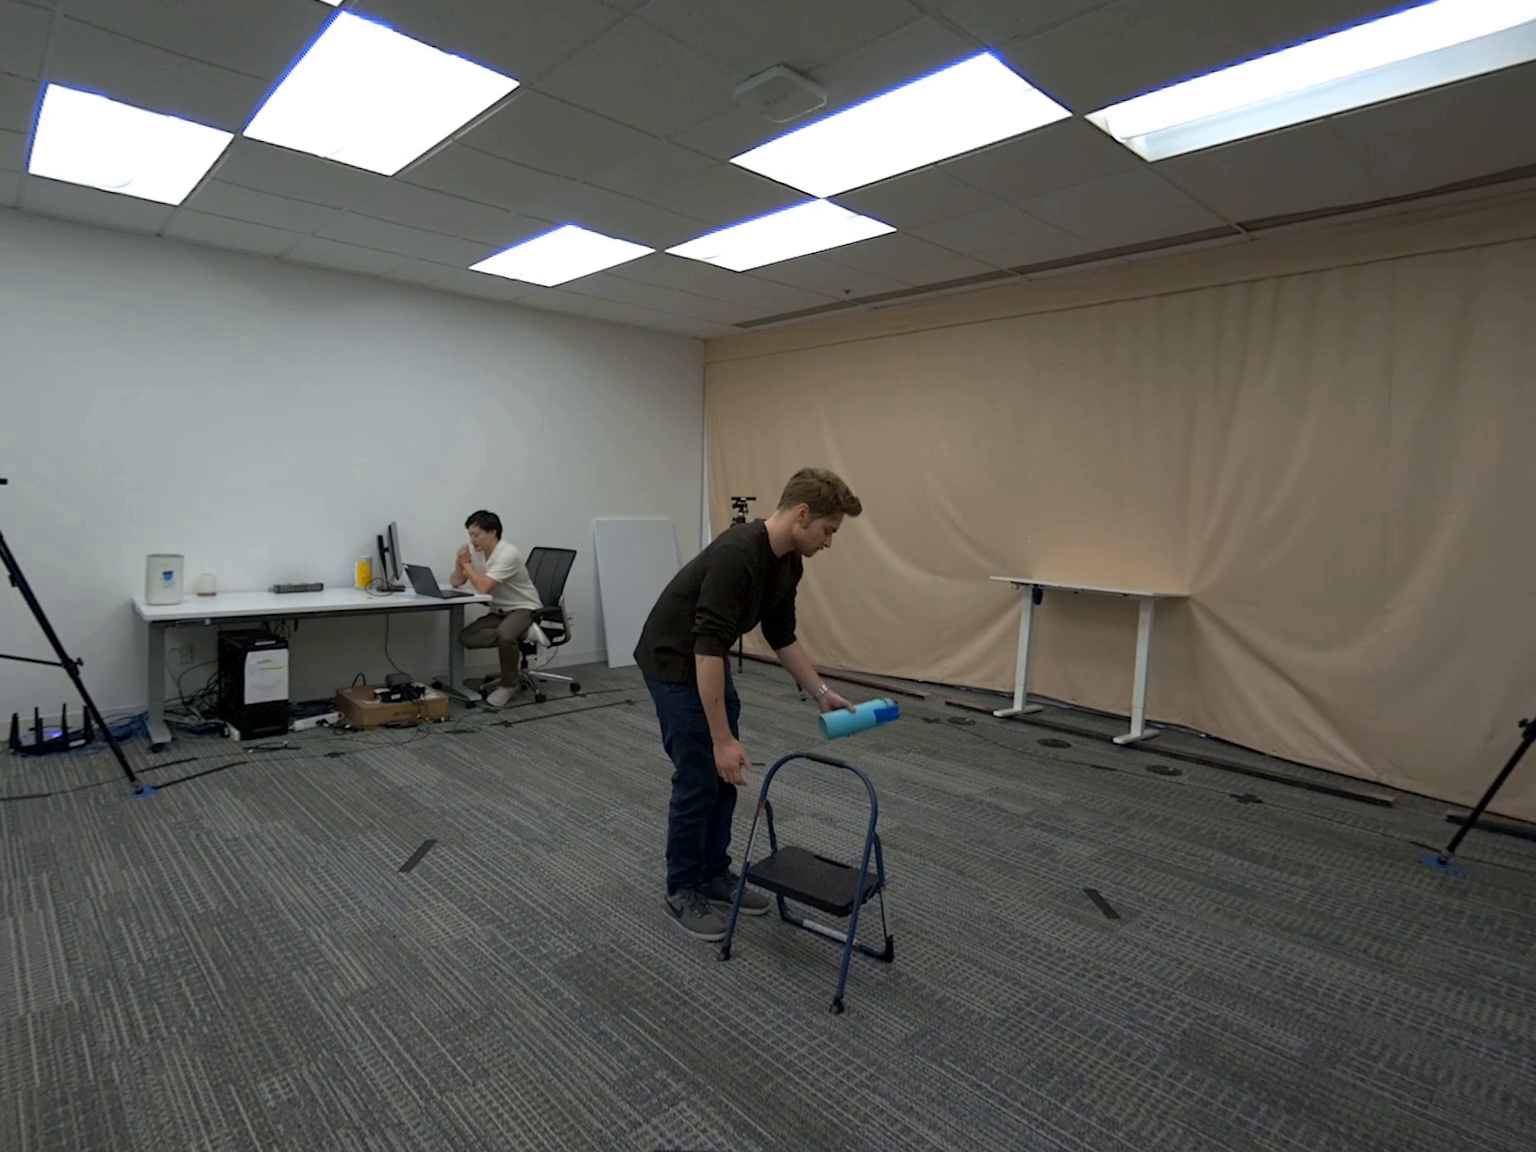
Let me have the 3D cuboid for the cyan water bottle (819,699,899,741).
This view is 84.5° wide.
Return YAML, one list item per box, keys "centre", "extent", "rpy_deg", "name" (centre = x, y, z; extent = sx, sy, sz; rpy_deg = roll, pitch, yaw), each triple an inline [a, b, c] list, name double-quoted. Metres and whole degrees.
- centre: [0.305, 0.485, 2.854]
  extent: [0.281, 0.092, 0.094]
  rpy_deg: [-12, 7, -14]
  name: "cyan water bottle"
